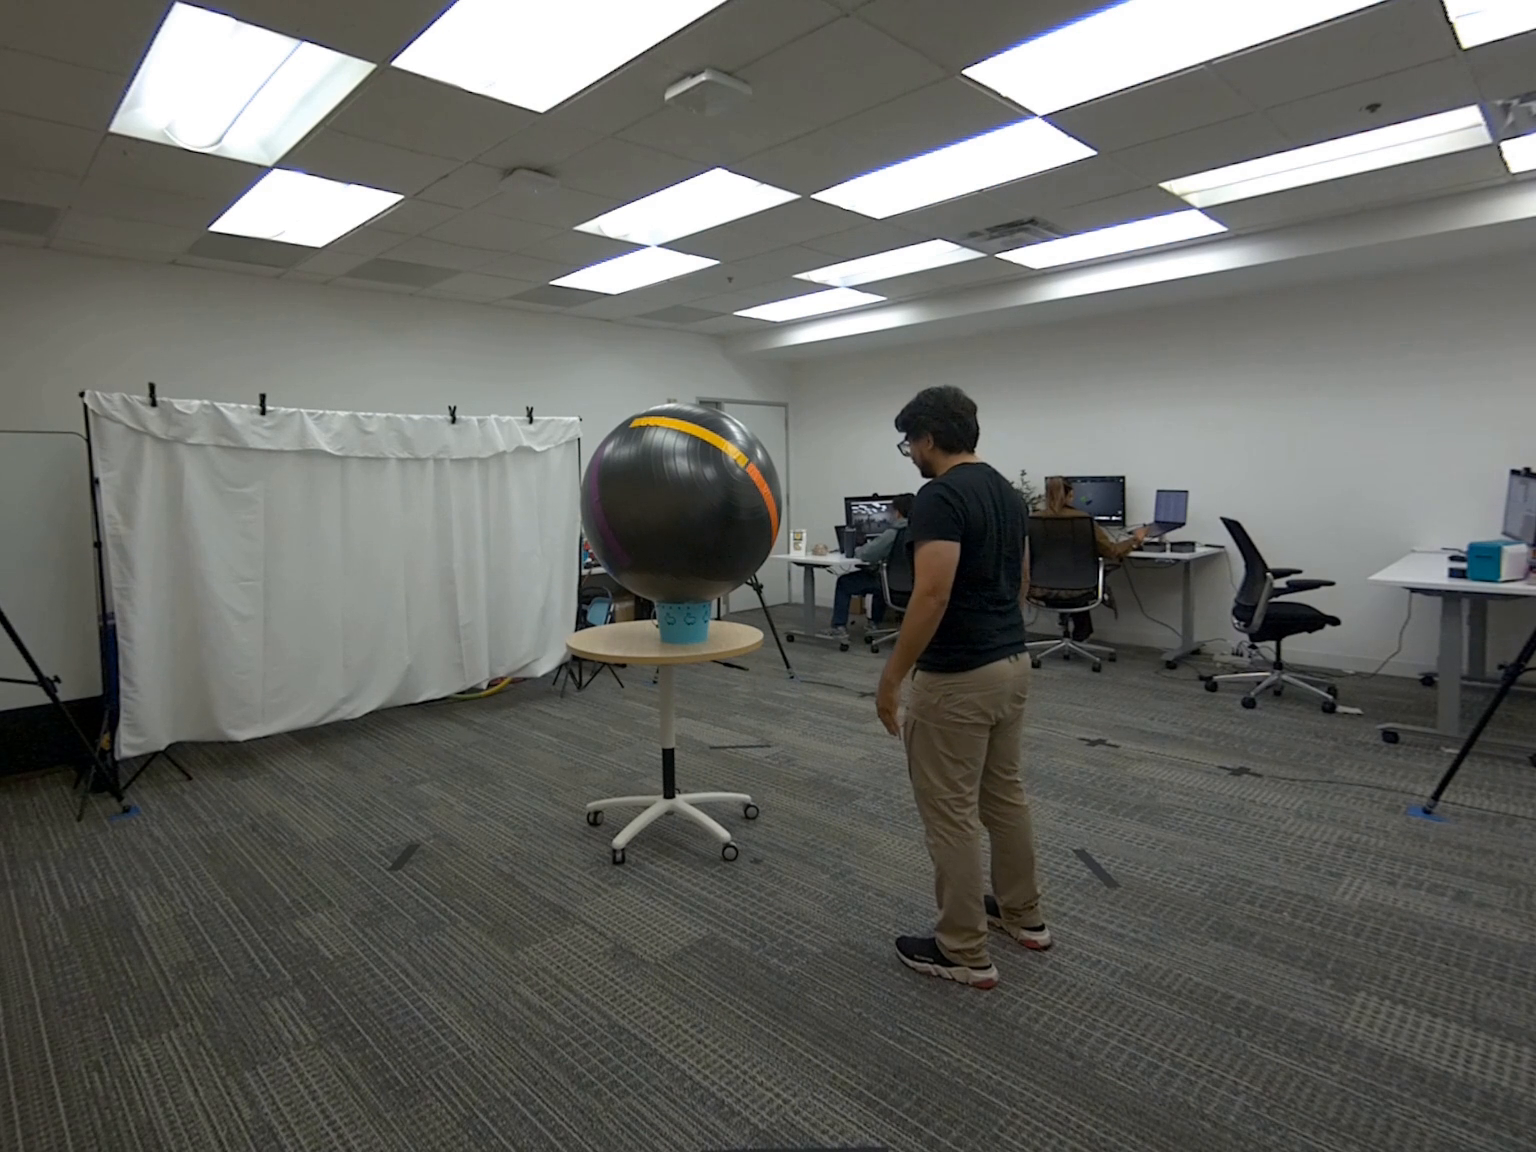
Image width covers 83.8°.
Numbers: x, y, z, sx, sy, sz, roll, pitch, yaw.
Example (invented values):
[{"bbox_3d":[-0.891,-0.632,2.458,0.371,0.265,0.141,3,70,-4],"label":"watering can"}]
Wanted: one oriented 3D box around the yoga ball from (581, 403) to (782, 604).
[{"bbox_3d":[-0.325,-0.264,3.222,0.757,0.755,0.762,-1,5,-2],"label":"yoga ball"}]
